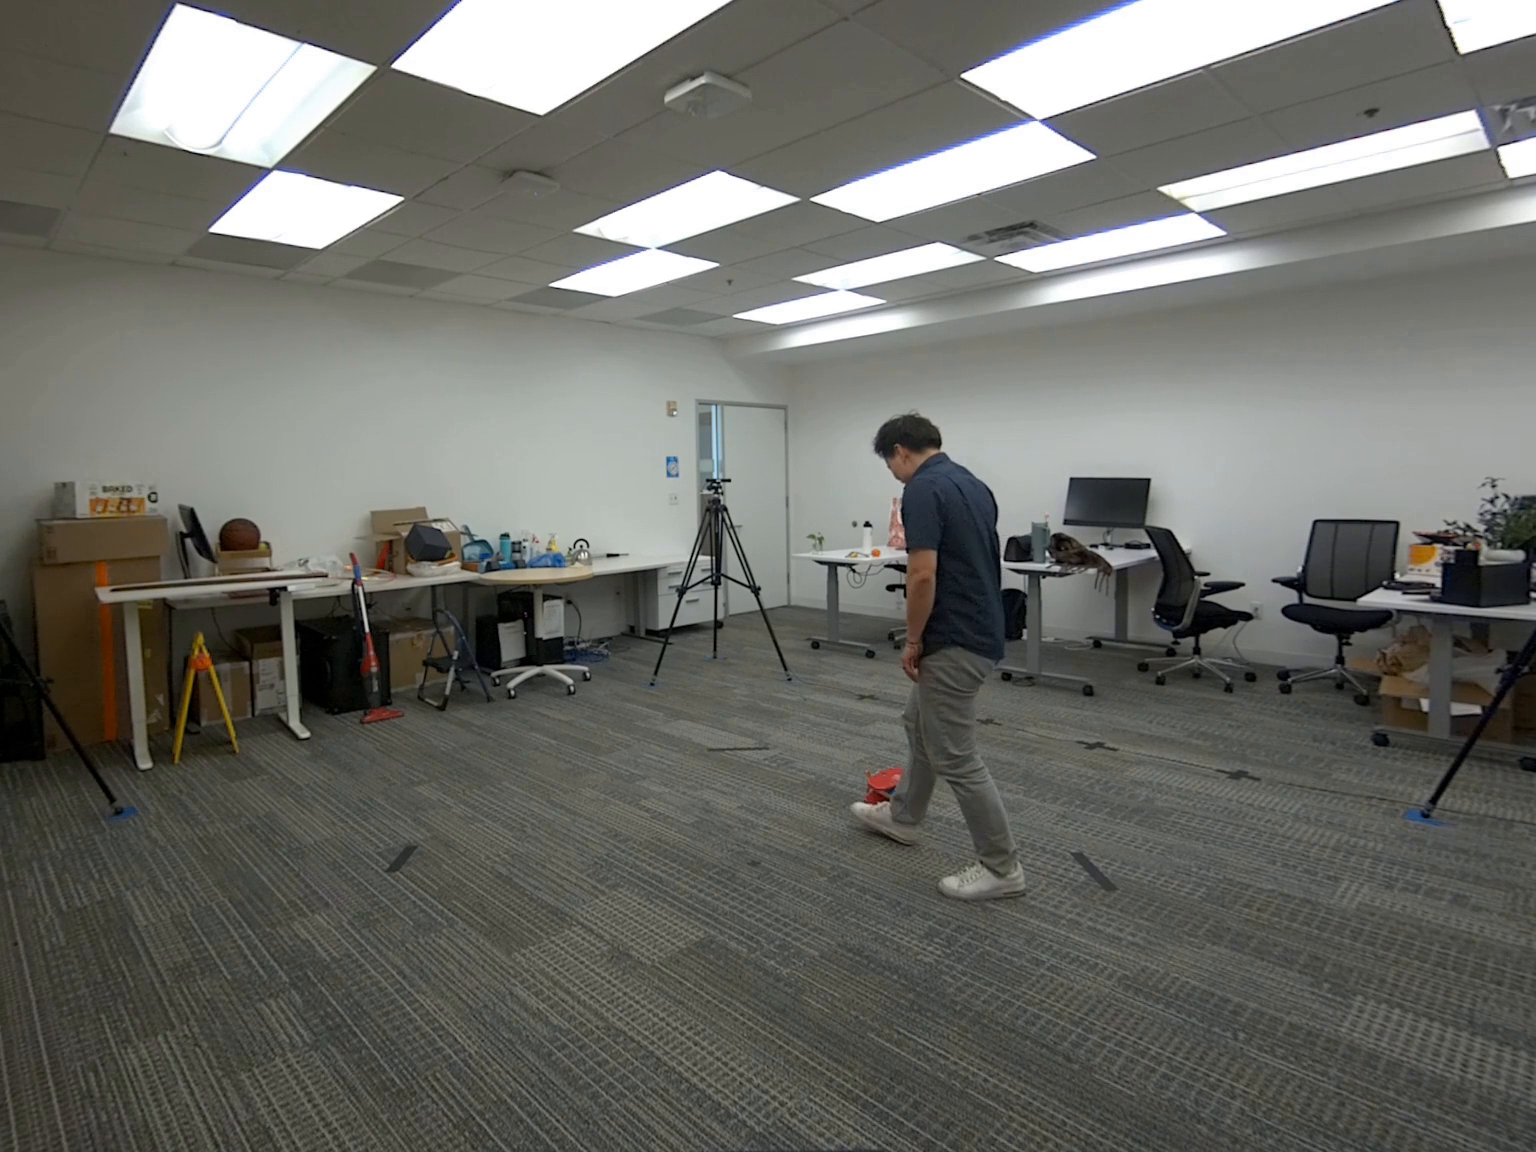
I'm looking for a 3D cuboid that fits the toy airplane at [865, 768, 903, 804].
[{"bbox_3d":[0.537,0.907,3.572,0.263,0.156,0.248,0,5,15],"label":"toy airplane"}]
